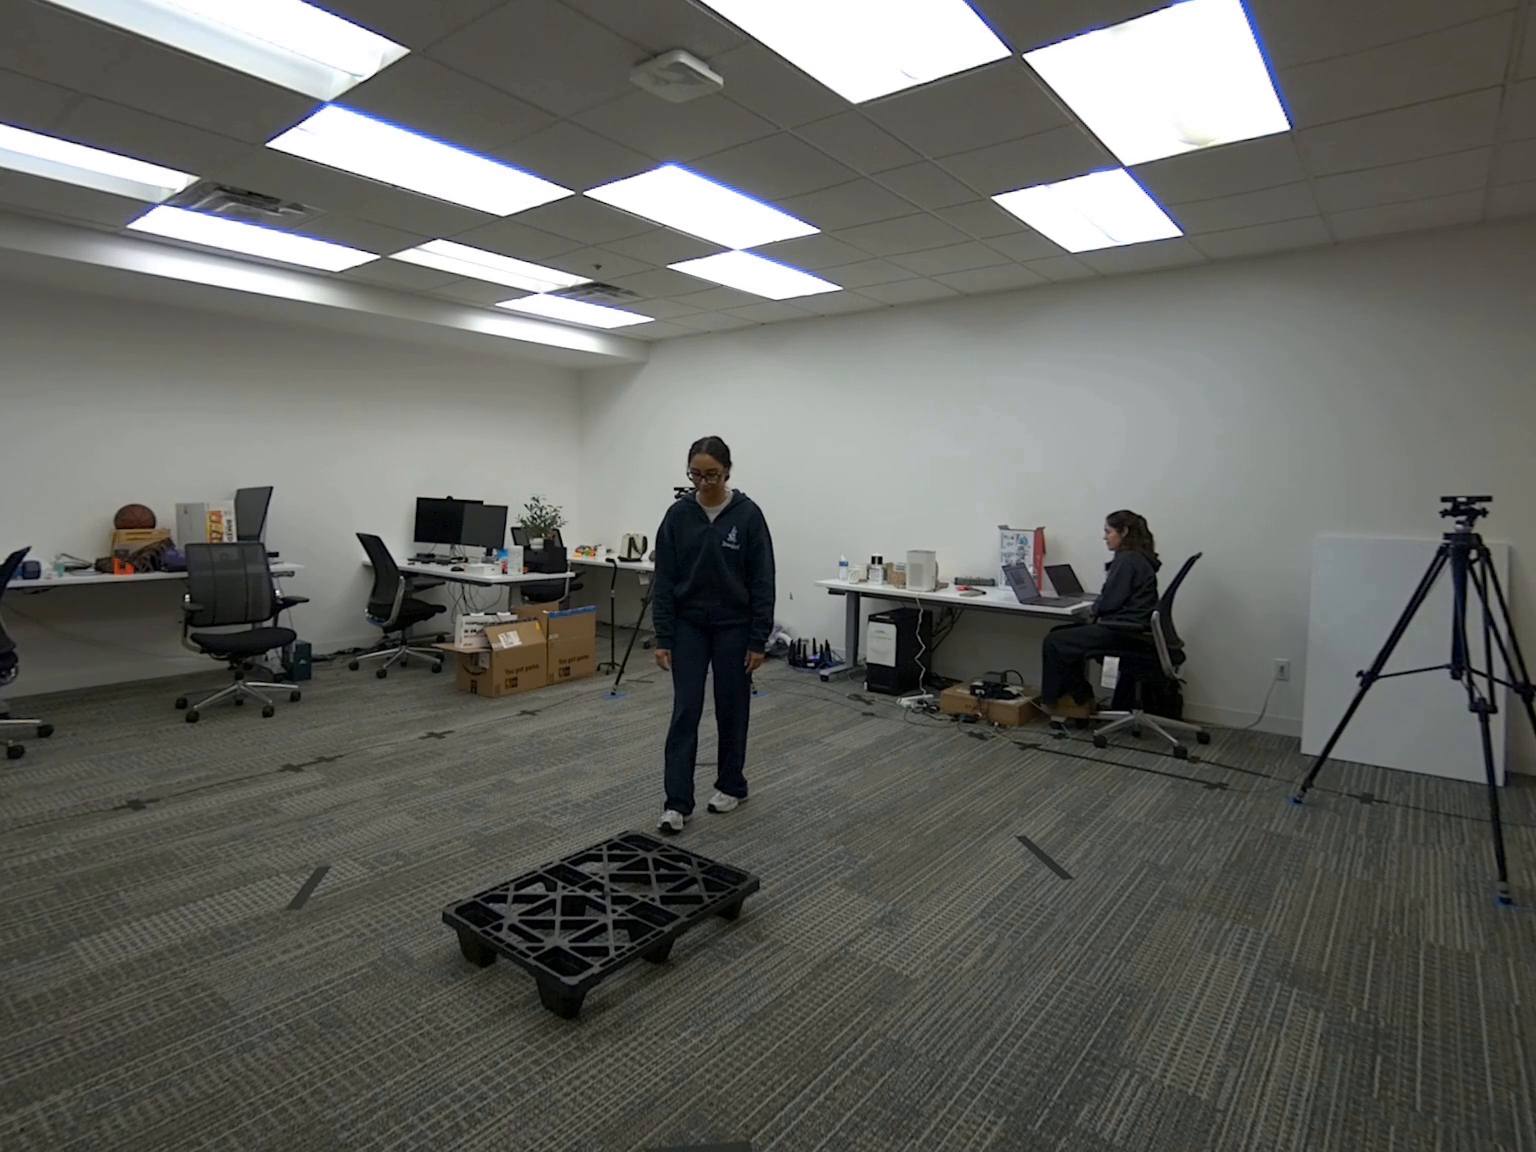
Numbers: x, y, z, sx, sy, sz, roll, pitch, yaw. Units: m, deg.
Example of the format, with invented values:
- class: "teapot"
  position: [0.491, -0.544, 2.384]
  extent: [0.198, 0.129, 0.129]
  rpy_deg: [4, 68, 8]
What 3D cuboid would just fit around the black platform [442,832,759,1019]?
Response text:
- class: "black platform"
  position: [-0.501, 1.044, 2.637]
  extent: [0.625, 0.142, 0.783]
  rpy_deg: [6, 8, 38]
